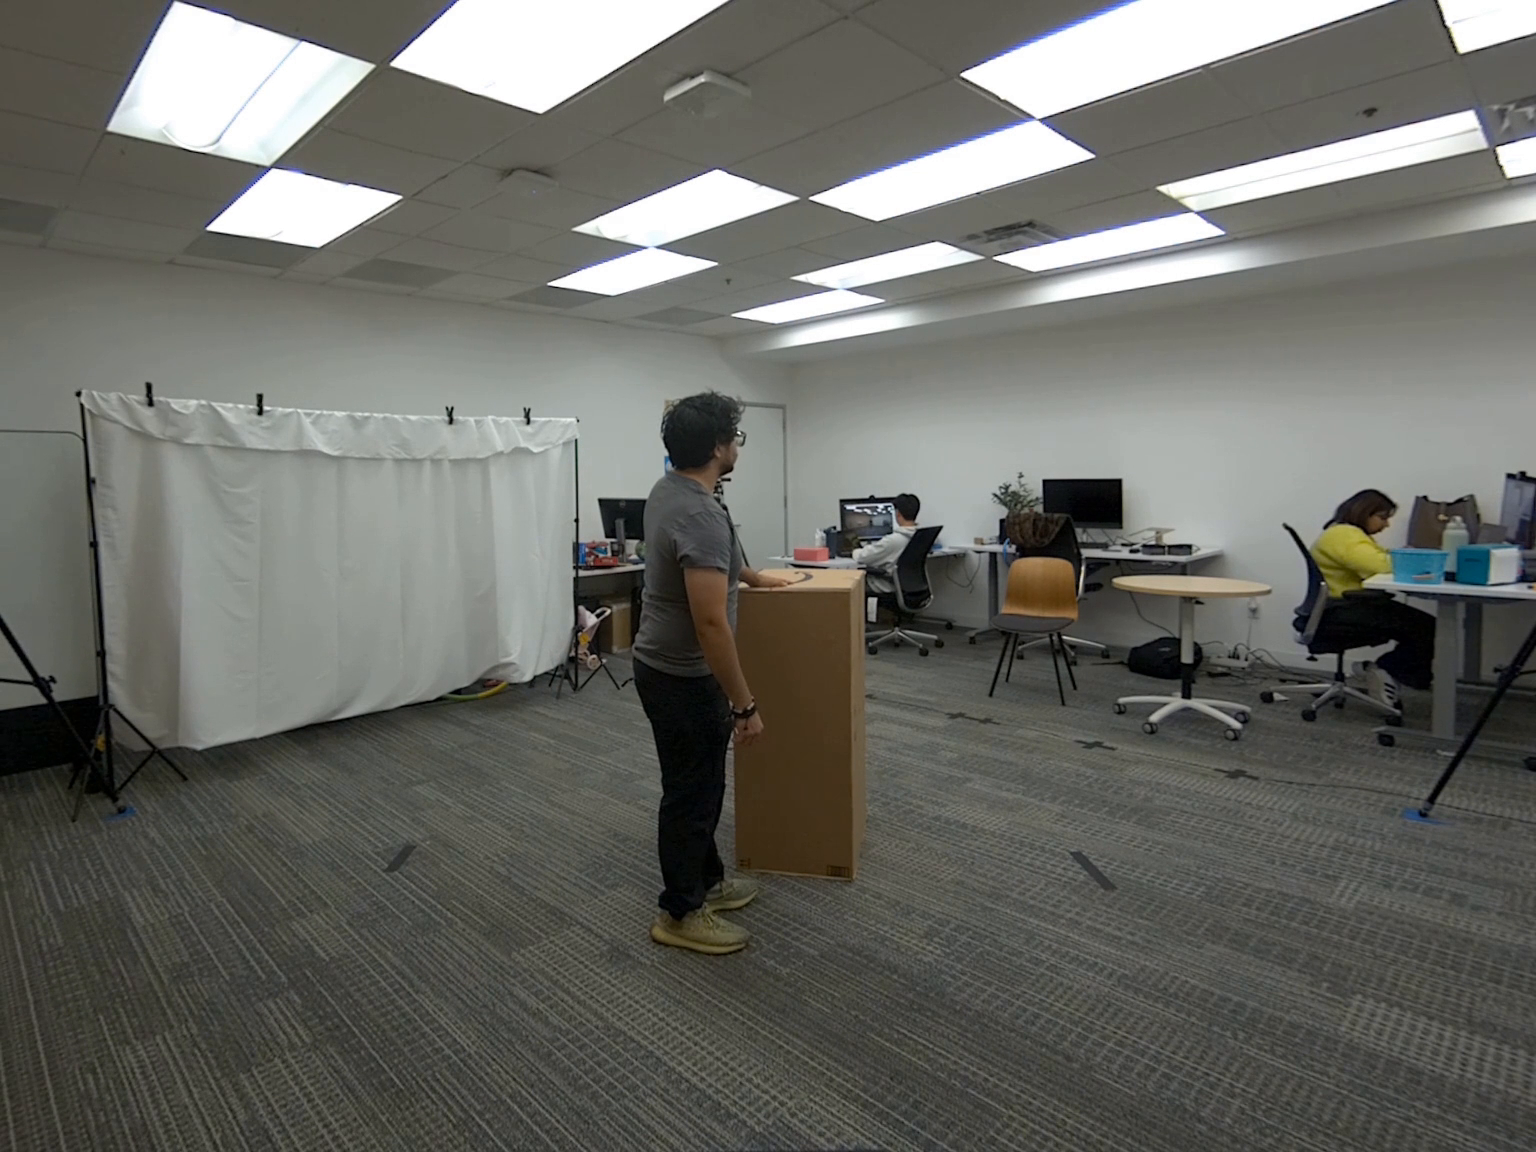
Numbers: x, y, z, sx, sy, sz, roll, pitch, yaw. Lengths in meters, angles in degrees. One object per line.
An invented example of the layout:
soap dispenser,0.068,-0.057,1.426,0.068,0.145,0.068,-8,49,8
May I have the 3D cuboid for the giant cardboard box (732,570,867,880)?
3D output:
giant cardboard box,0.133,0.513,3.238,0.432,1.021,0.572,0,5,13
